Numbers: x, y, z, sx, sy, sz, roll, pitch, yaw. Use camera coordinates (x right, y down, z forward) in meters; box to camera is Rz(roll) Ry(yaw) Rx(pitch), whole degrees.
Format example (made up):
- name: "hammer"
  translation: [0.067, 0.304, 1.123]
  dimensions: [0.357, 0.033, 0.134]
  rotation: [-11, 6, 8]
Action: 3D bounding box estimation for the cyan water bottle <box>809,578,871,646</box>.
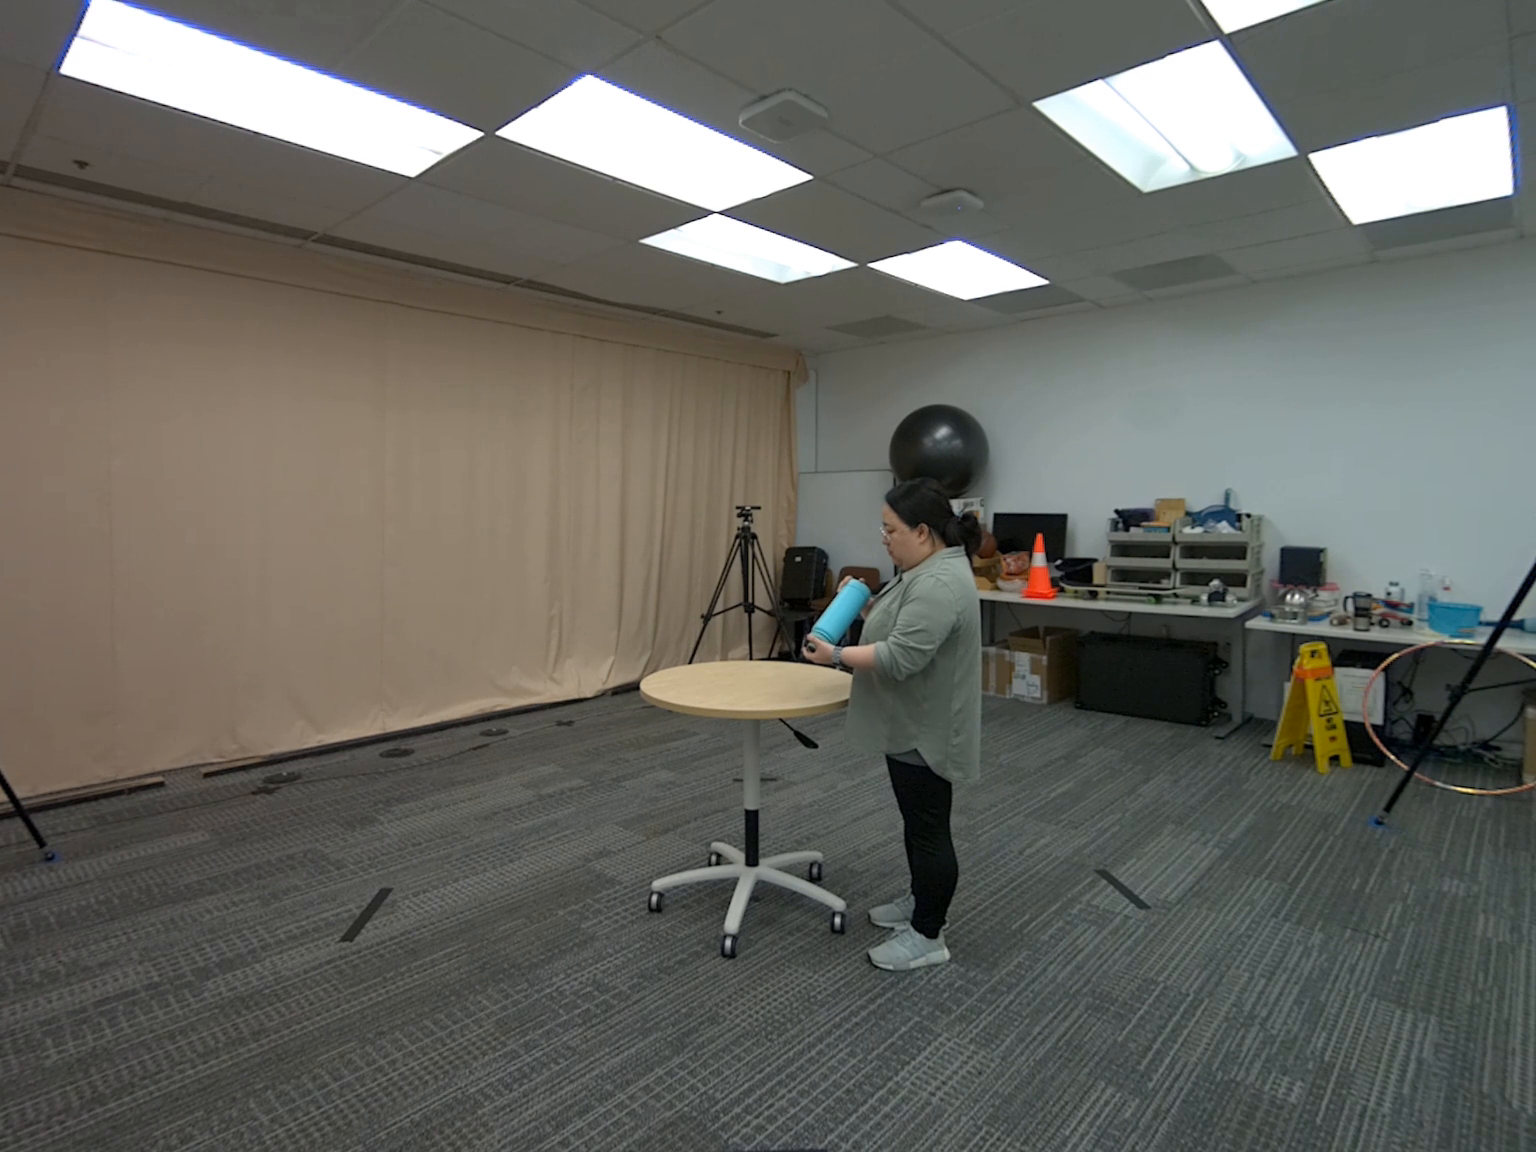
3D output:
- name: "cyan water bottle"
  translation: [0.217, 0.143, 2.629]
  dimensions: [0.095, 0.090, 0.282]
  rotation: [4, 46, 49]
